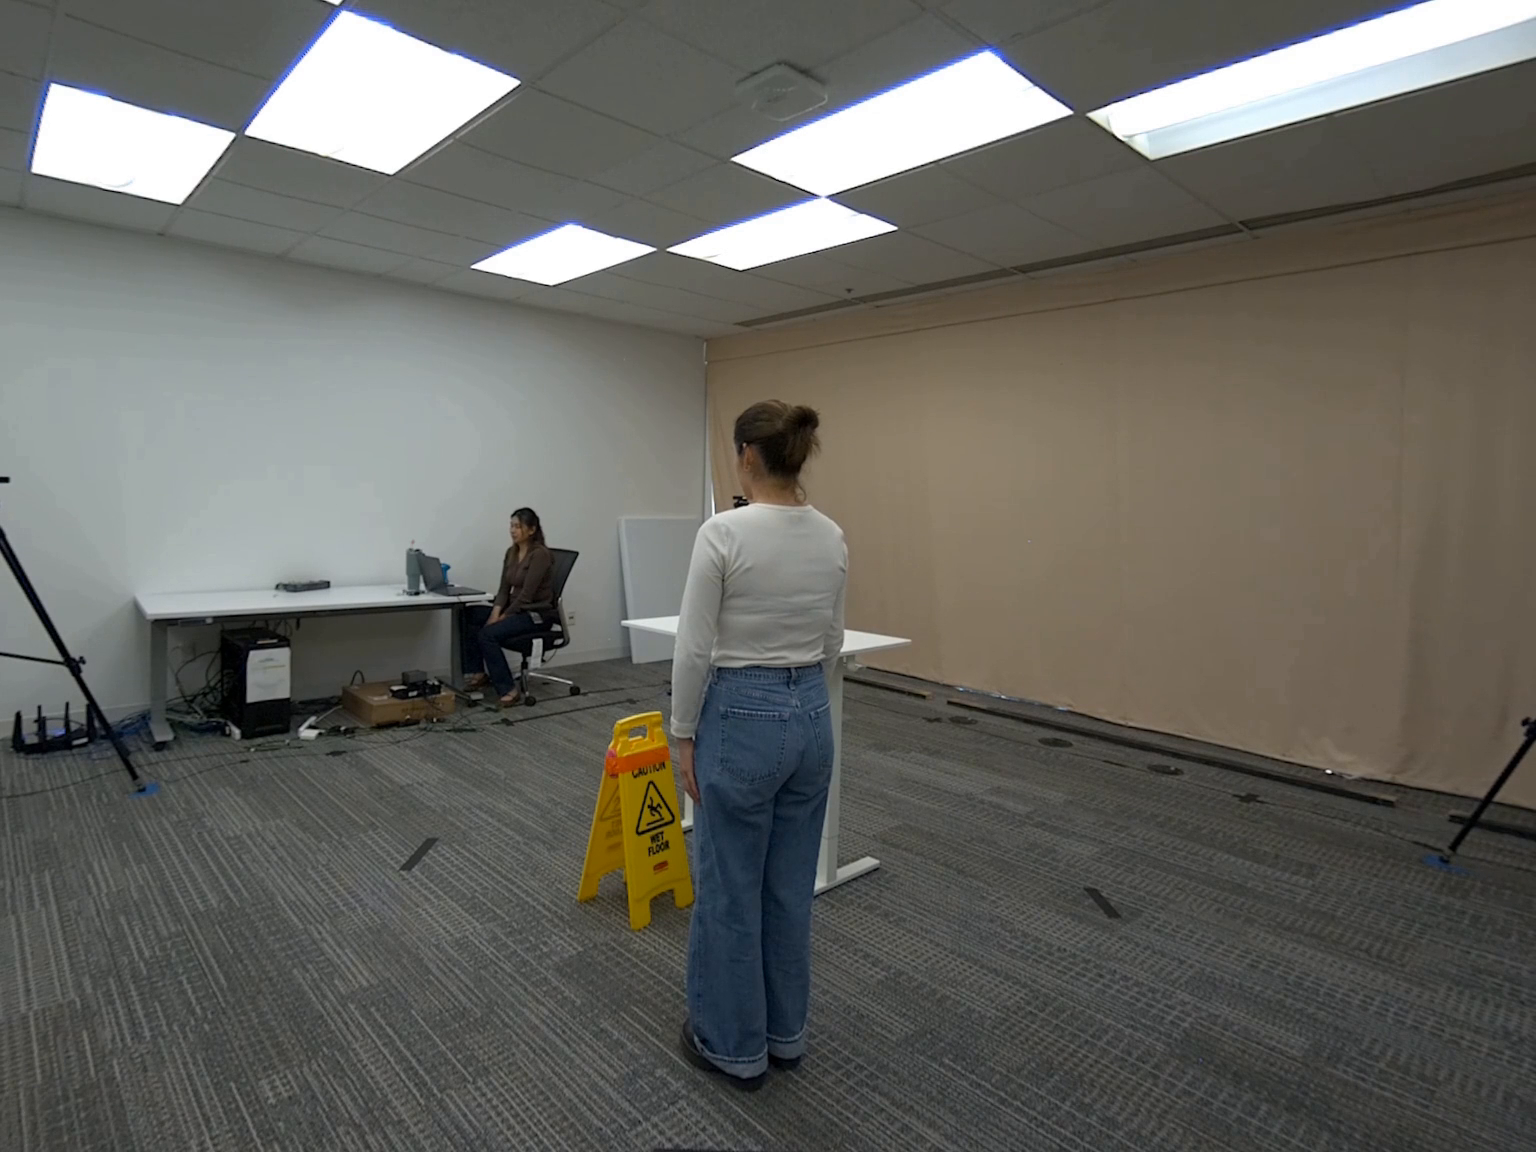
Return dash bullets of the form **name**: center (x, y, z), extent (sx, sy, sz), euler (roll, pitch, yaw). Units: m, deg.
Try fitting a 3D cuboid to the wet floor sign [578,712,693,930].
- **wet floor sign**: center (-0.450, 0.798, 2.855), extent (0.297, 0.644, 0.276), euler (5, 5, 40)
